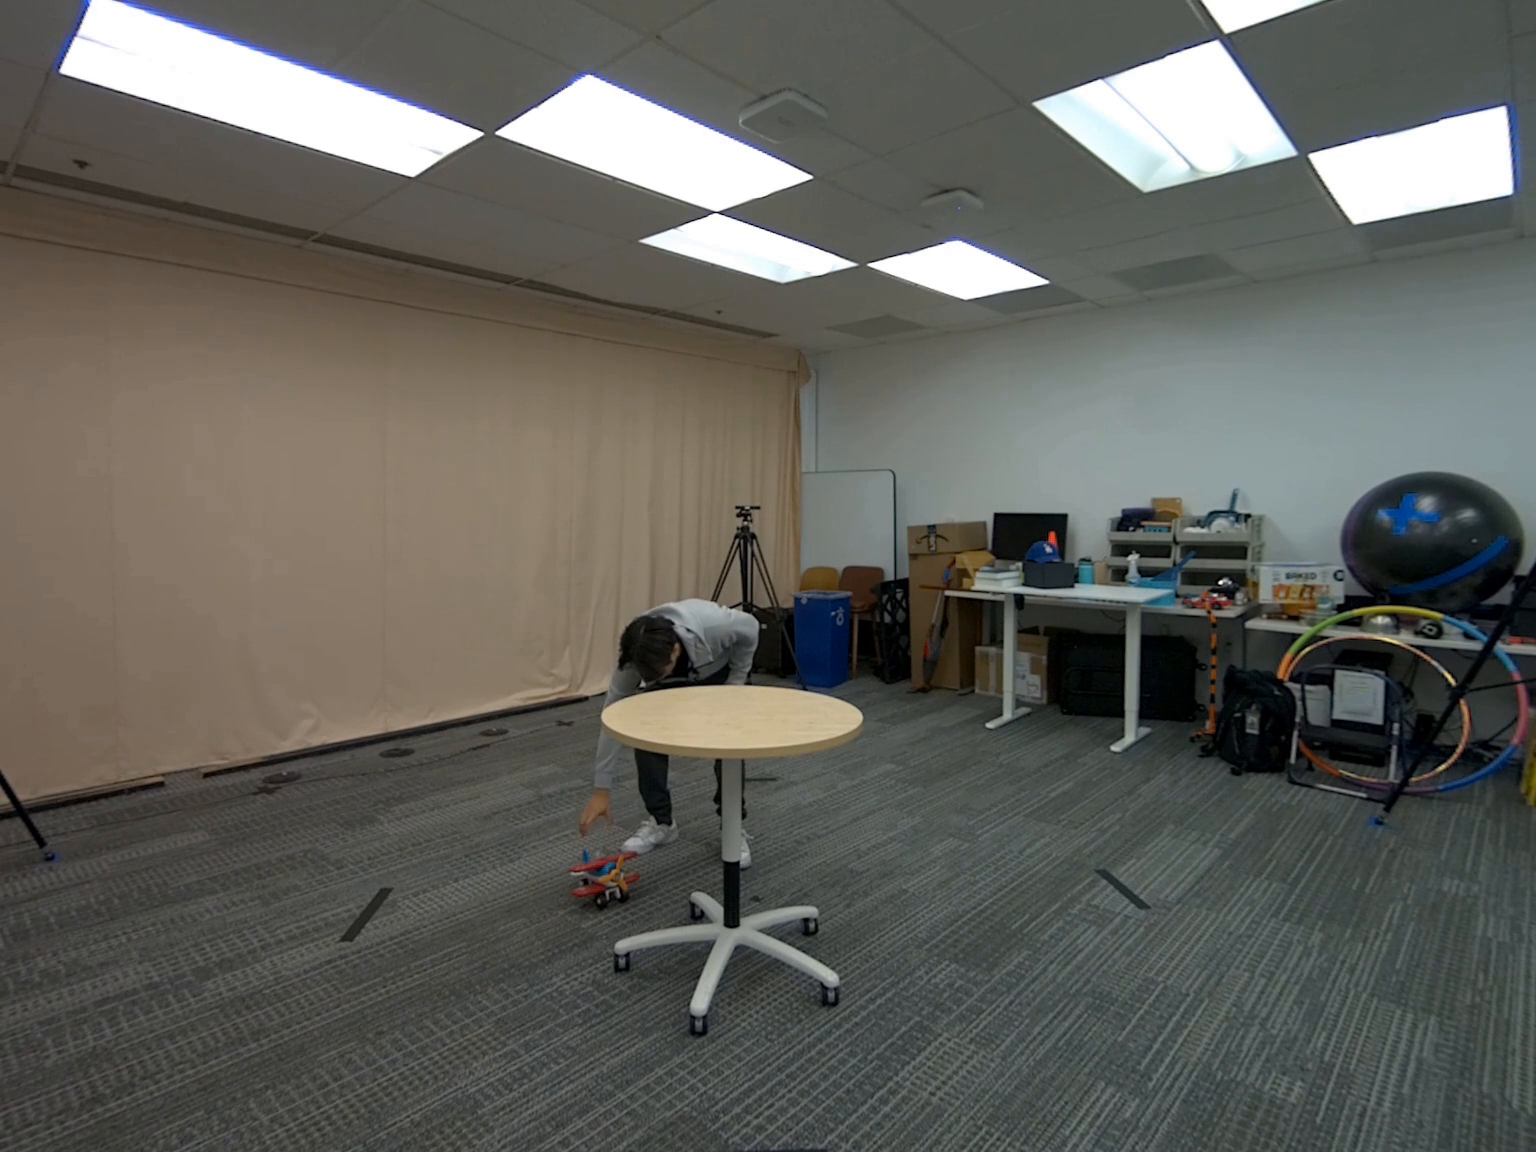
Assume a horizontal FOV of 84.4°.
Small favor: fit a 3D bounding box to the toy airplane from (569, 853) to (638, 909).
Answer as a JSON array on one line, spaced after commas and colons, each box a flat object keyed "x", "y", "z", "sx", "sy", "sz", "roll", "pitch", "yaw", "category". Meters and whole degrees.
[{"x": -0.611, "y": 1.072, "z": 3.001, "sx": 0.266, "sy": 0.156, "sz": 0.245, "roll": 3, "pitch": 6, "yaw": 25, "category": "toy airplane"}]
